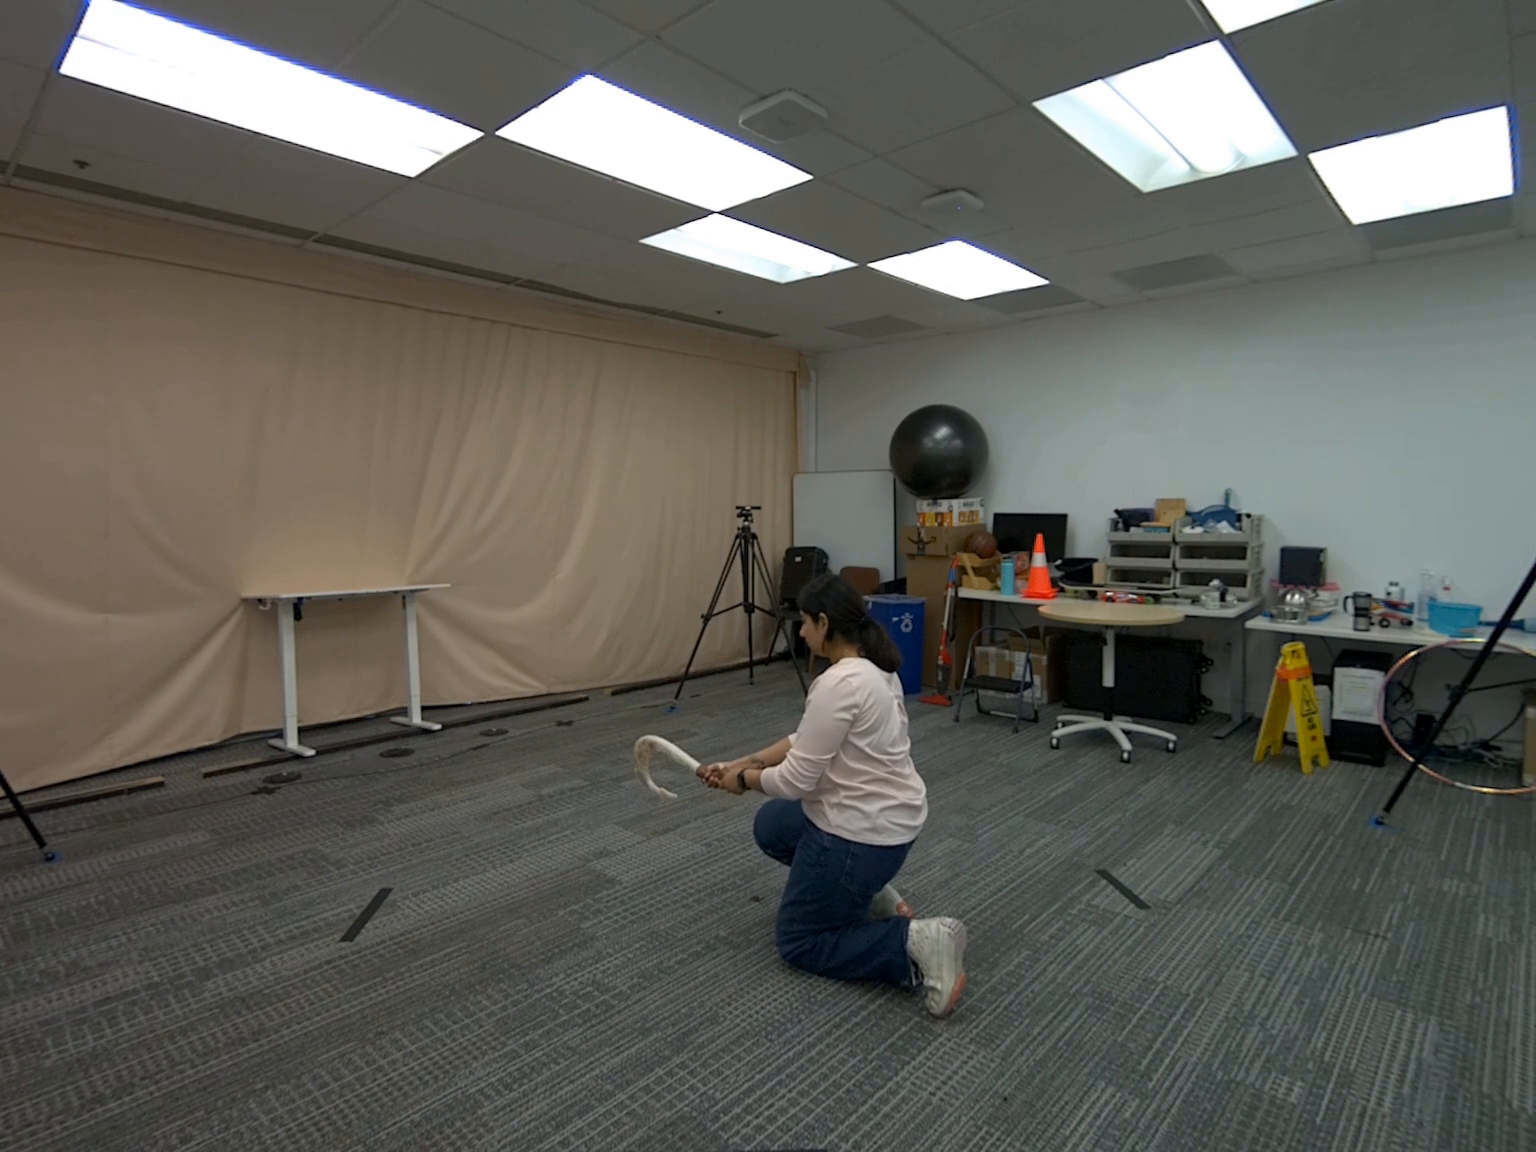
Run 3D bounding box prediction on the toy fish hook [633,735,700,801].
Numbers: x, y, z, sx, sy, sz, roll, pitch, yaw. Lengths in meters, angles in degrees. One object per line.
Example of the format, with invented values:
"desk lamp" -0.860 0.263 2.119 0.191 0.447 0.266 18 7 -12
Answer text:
"toy fish hook" -0.267 0.673 2.853 0.524 0.222 0.047 11 19 38
